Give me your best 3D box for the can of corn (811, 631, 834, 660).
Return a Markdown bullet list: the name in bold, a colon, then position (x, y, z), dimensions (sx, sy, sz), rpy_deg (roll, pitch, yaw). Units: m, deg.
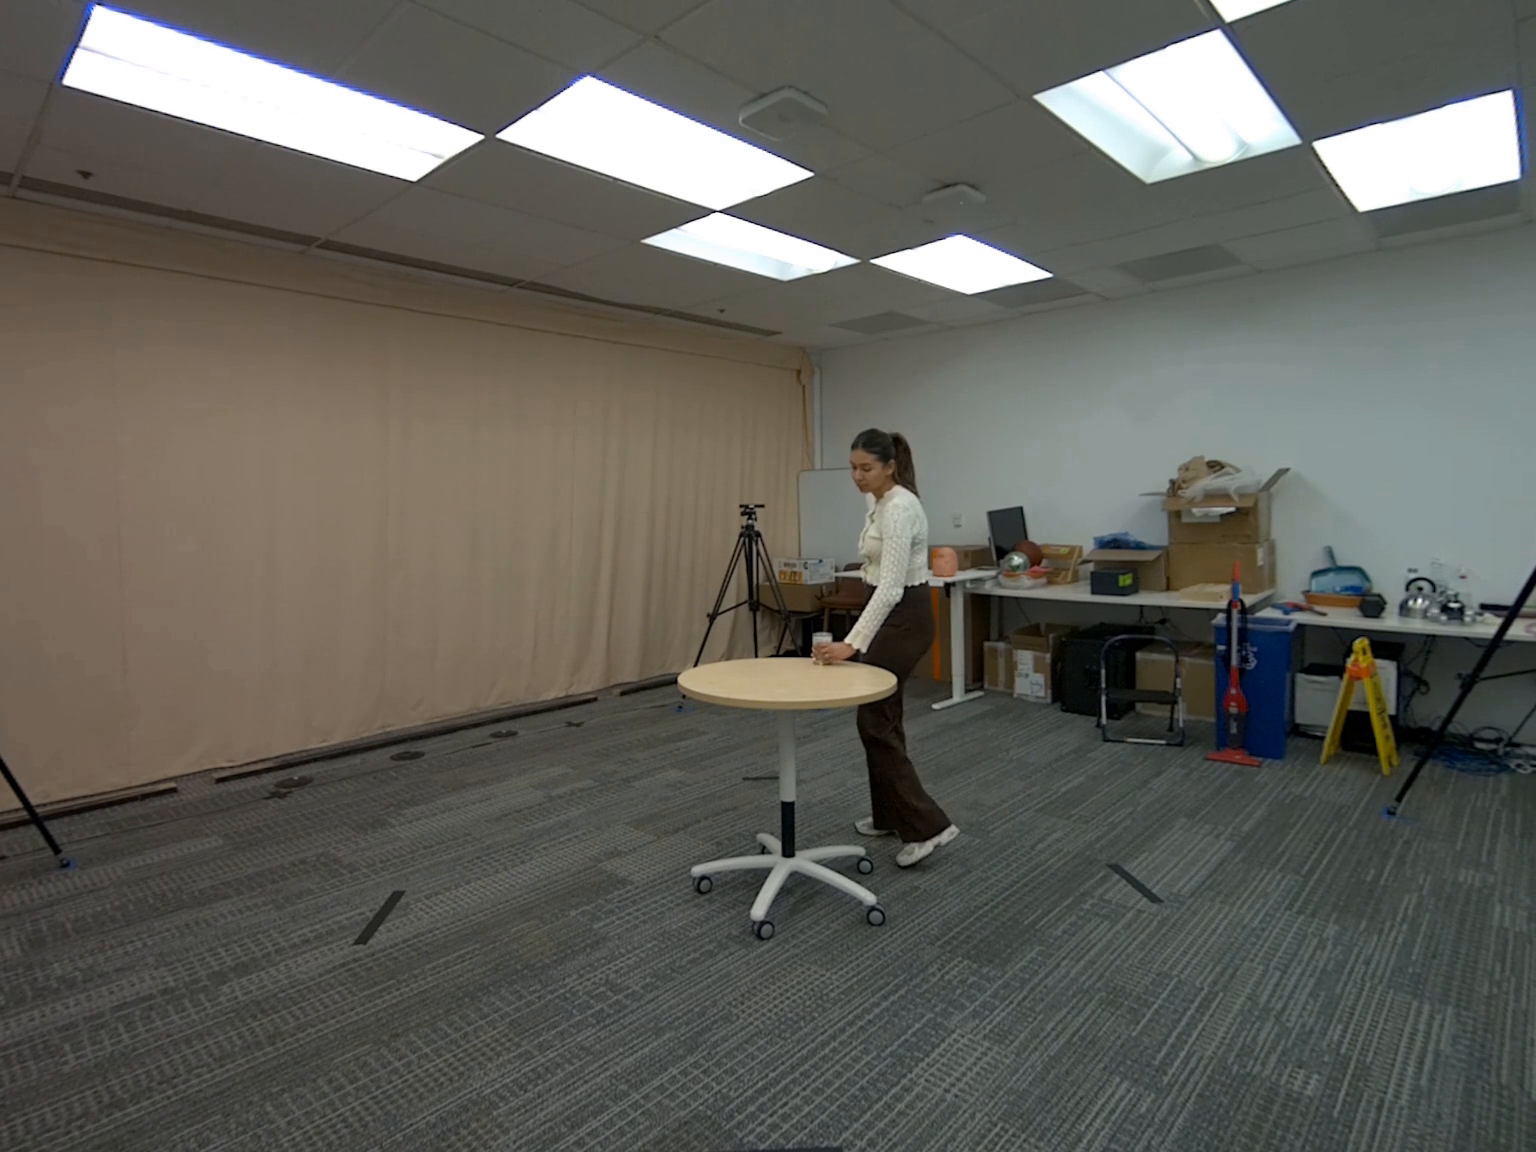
- **can of corn**: position (0.212, 0.278, 3.219), dimensions (0.074, 0.111, 0.074), rpy_deg (2, 1, -2)
